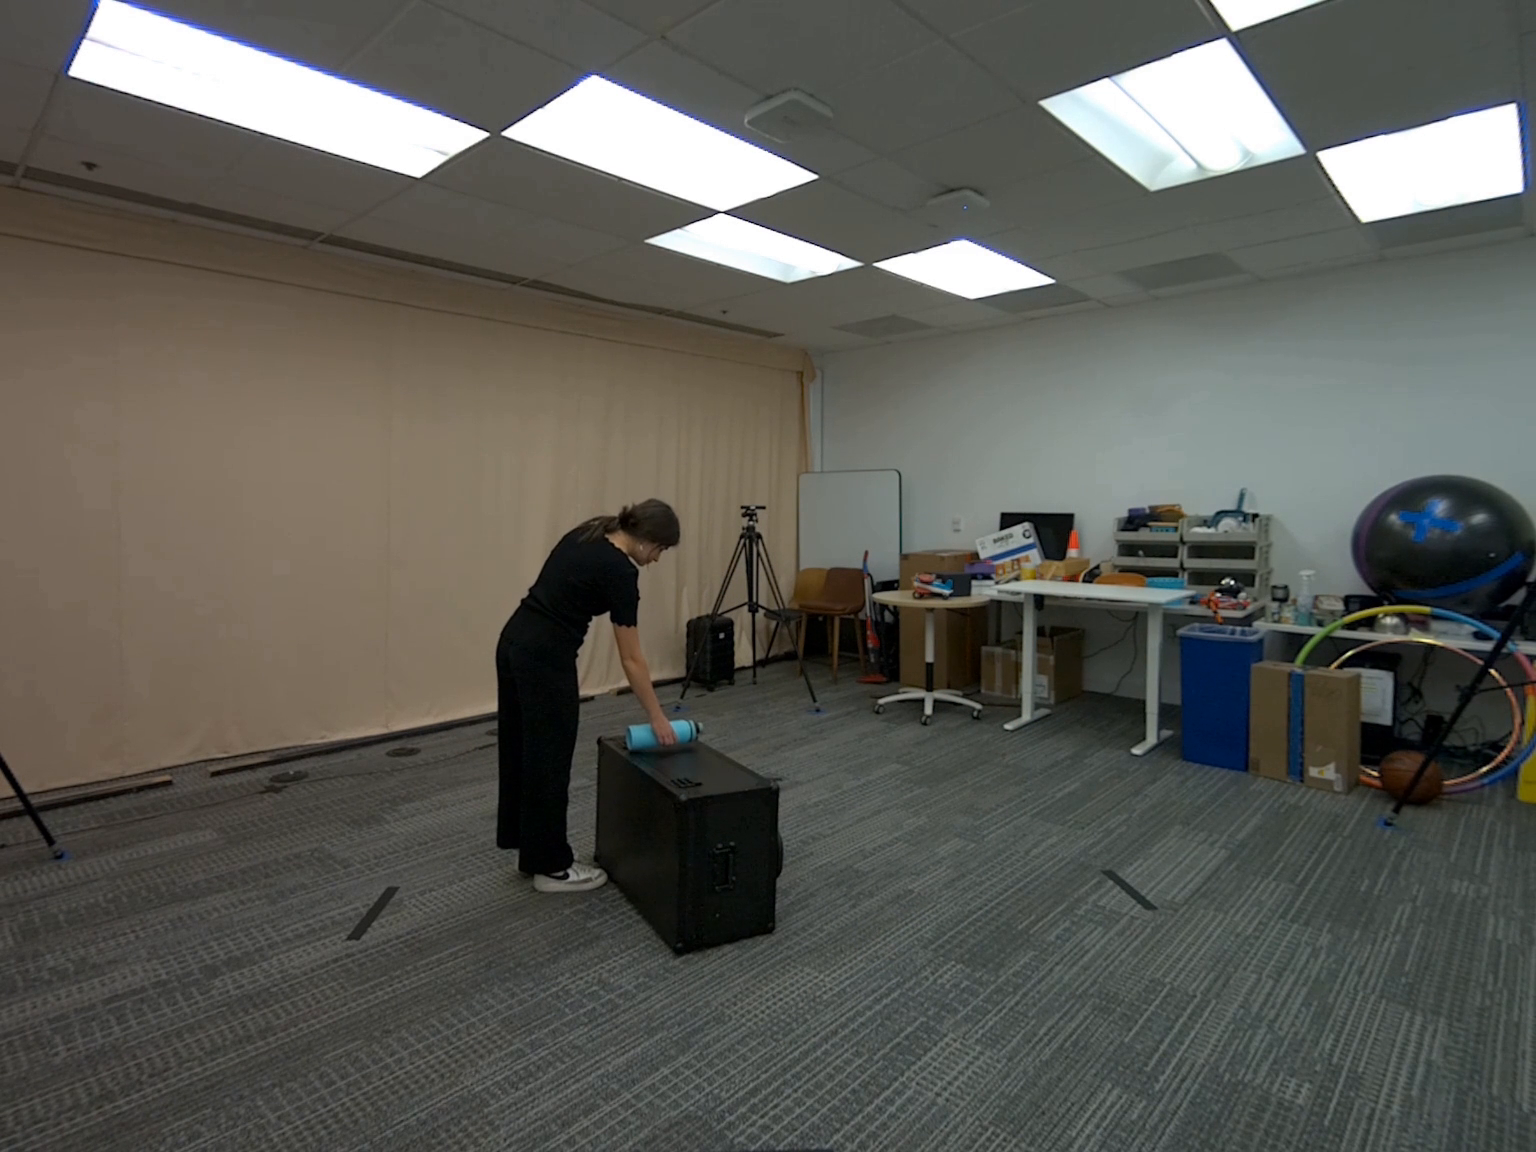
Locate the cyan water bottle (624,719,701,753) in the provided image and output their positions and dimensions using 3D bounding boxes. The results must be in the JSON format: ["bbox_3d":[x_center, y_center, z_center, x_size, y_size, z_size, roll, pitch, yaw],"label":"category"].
[{"bbox_3d":[-0.383,0.589,3.136,0.277,0.092,0.094,-1,4,-22],"label":"cyan water bottle"}]
